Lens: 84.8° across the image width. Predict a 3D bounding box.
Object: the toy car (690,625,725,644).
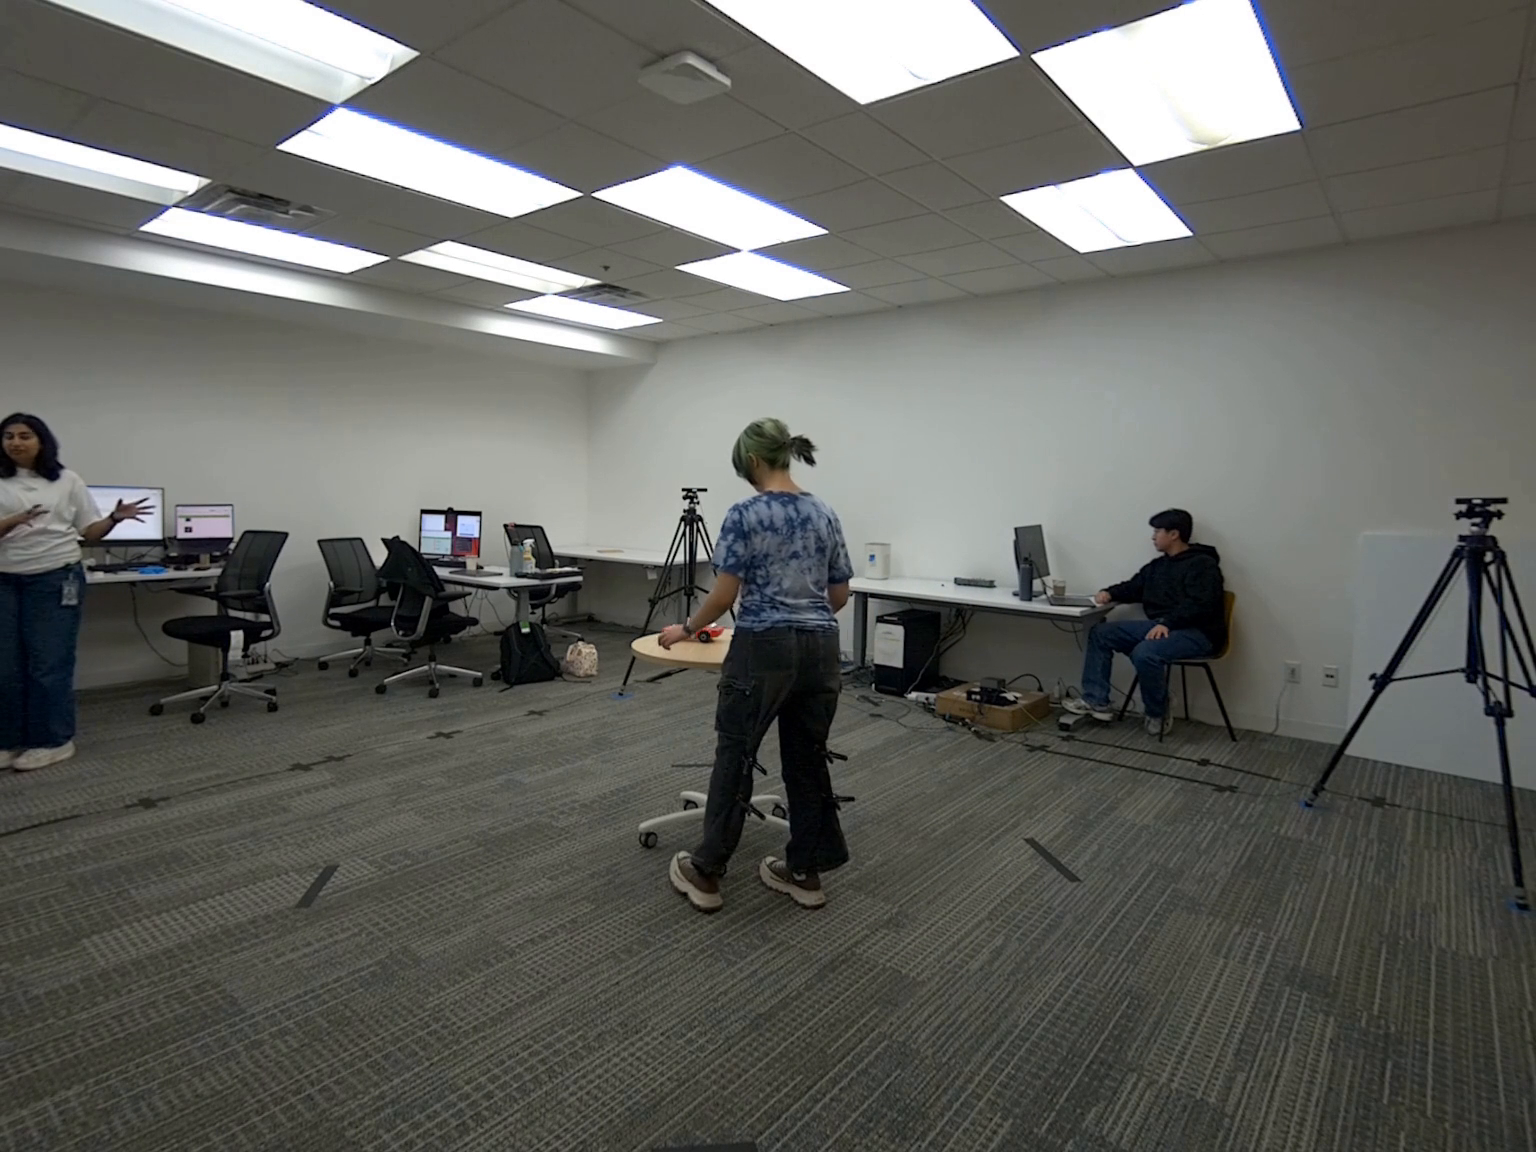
[{"bbox_3d":[-0.306,0.225,3.429,0.257,0.083,0.129,-10,2,13],"label":"toy car"}]
